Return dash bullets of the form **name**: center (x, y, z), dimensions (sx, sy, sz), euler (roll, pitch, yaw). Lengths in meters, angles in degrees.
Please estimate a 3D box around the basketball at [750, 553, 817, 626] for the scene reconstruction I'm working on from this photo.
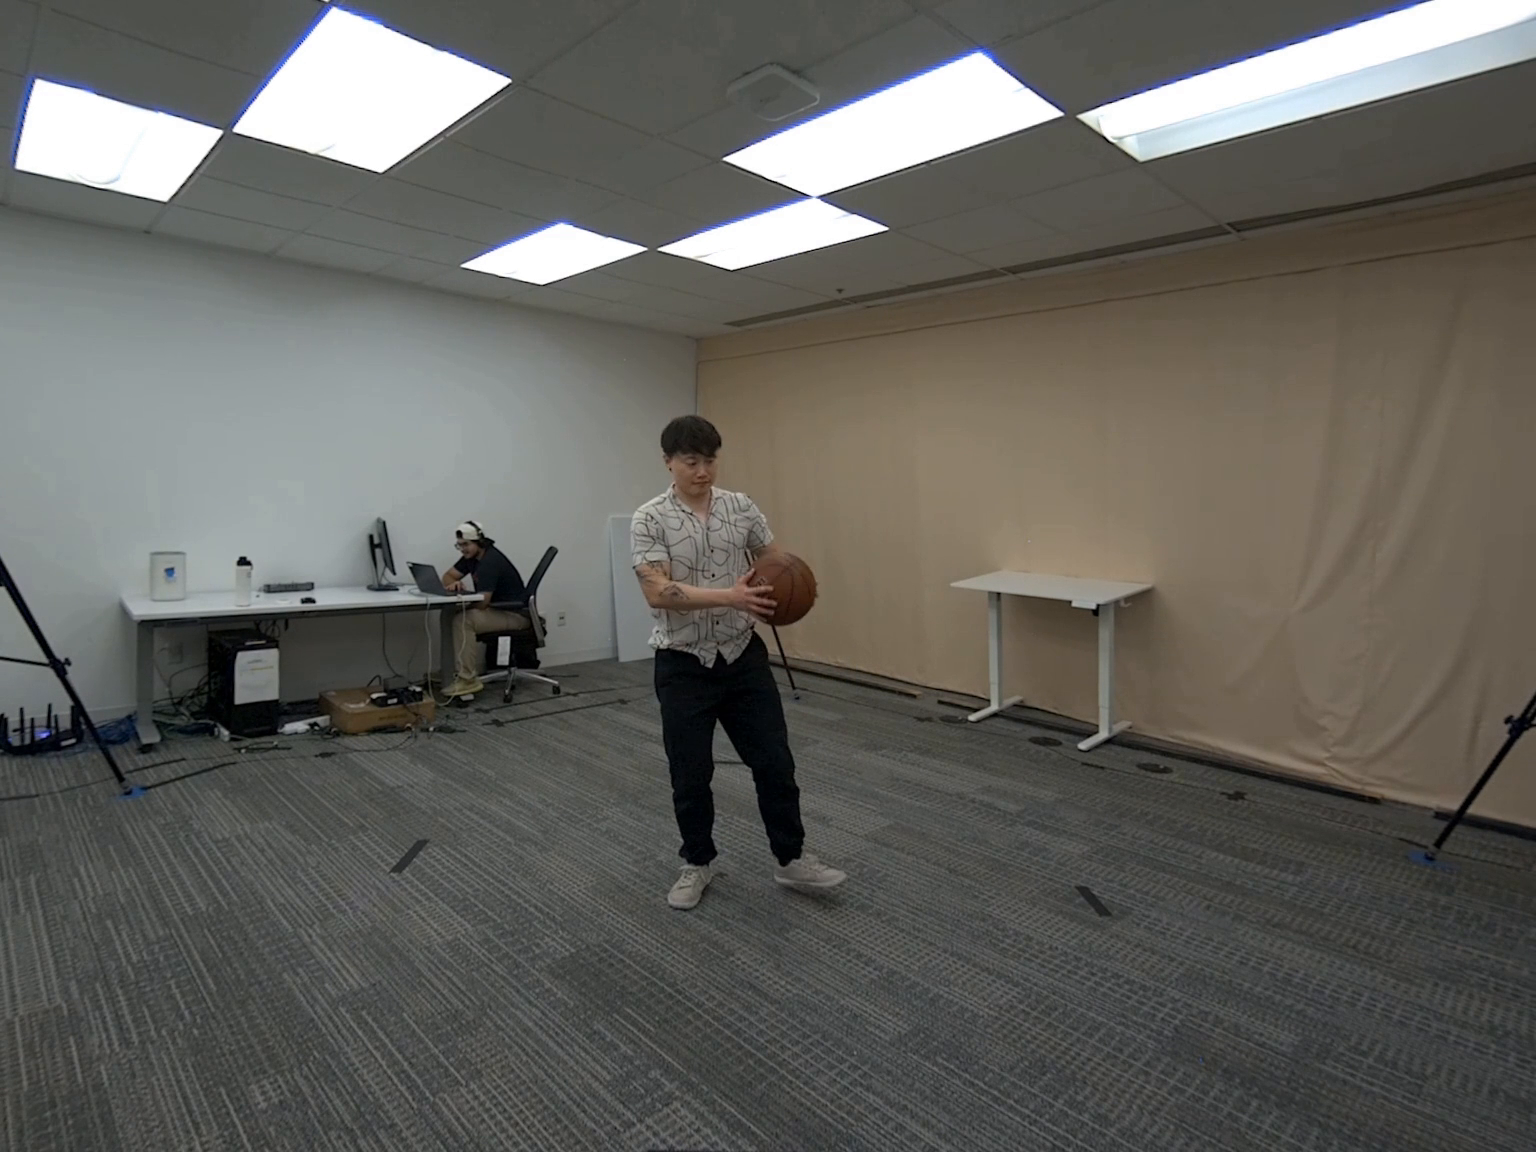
- **basketball**: center (0.018, 0.053, 2.702), dimensions (0.236, 0.235, 0.237), euler (1, 4, -1)
